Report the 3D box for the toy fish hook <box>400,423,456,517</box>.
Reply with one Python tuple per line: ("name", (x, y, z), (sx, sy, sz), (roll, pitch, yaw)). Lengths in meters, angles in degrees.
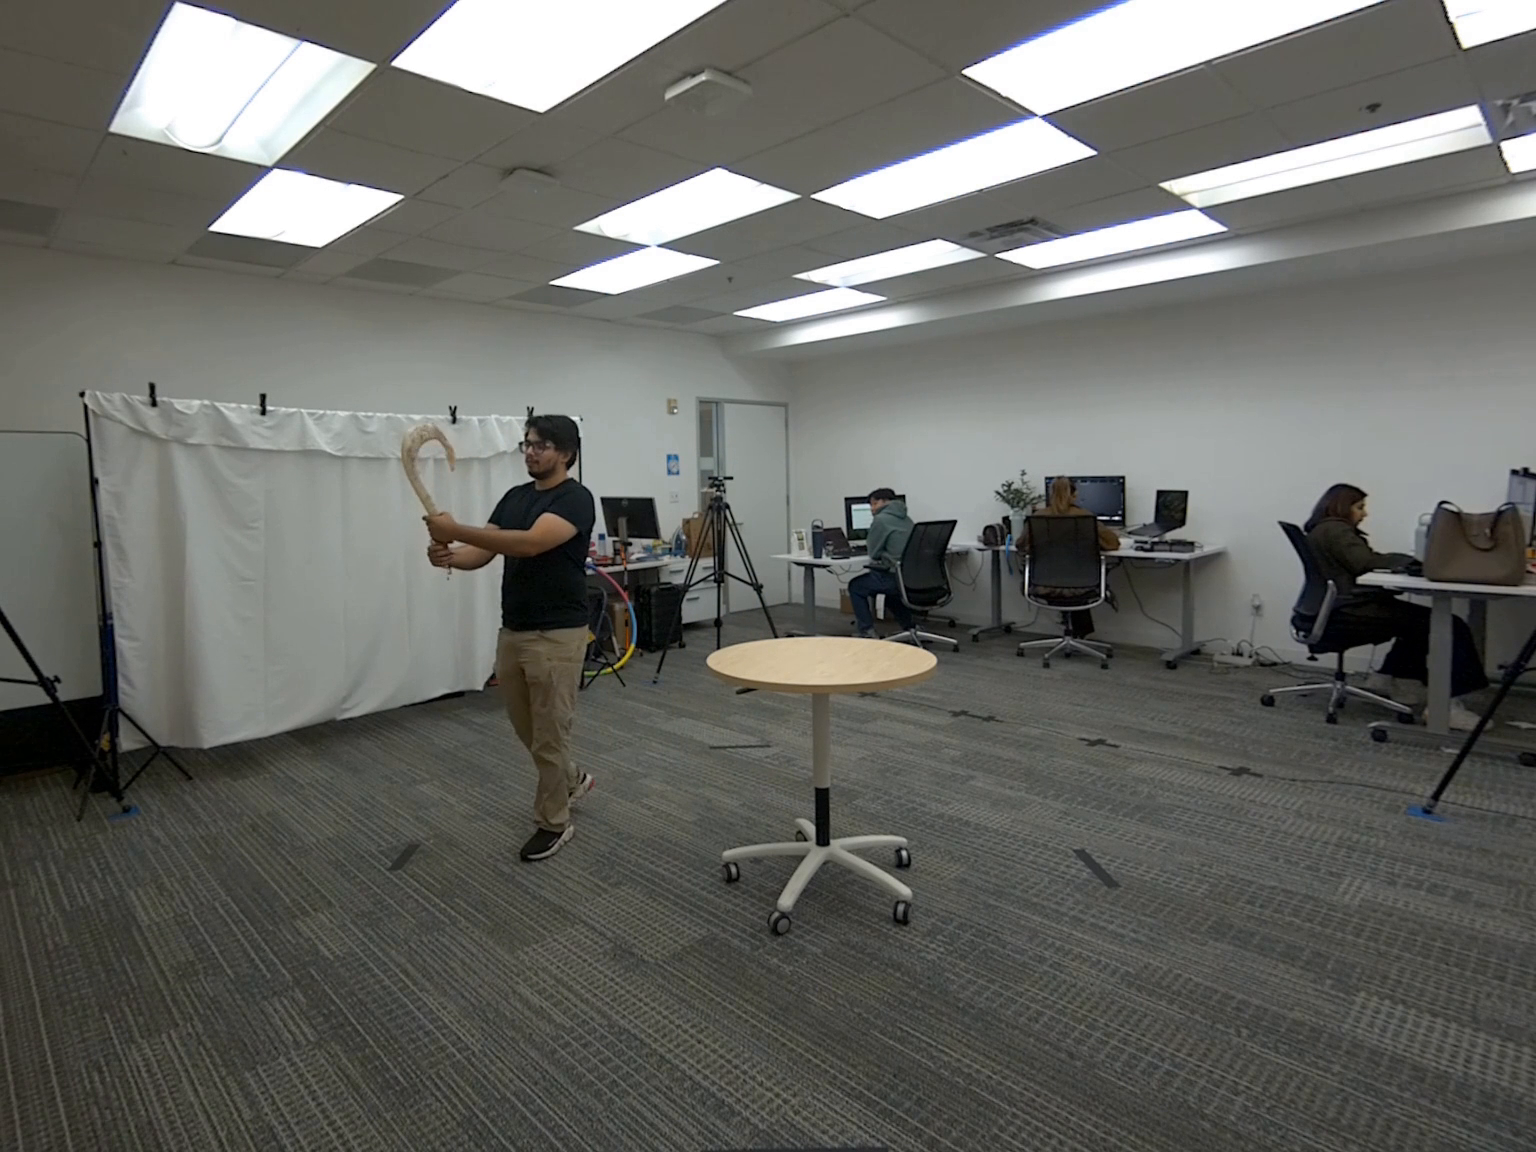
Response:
("toy fish hook", (-1.142, -0.279, 2.964), (0.049, 0.496, 0.223), (6, 24, 27))
